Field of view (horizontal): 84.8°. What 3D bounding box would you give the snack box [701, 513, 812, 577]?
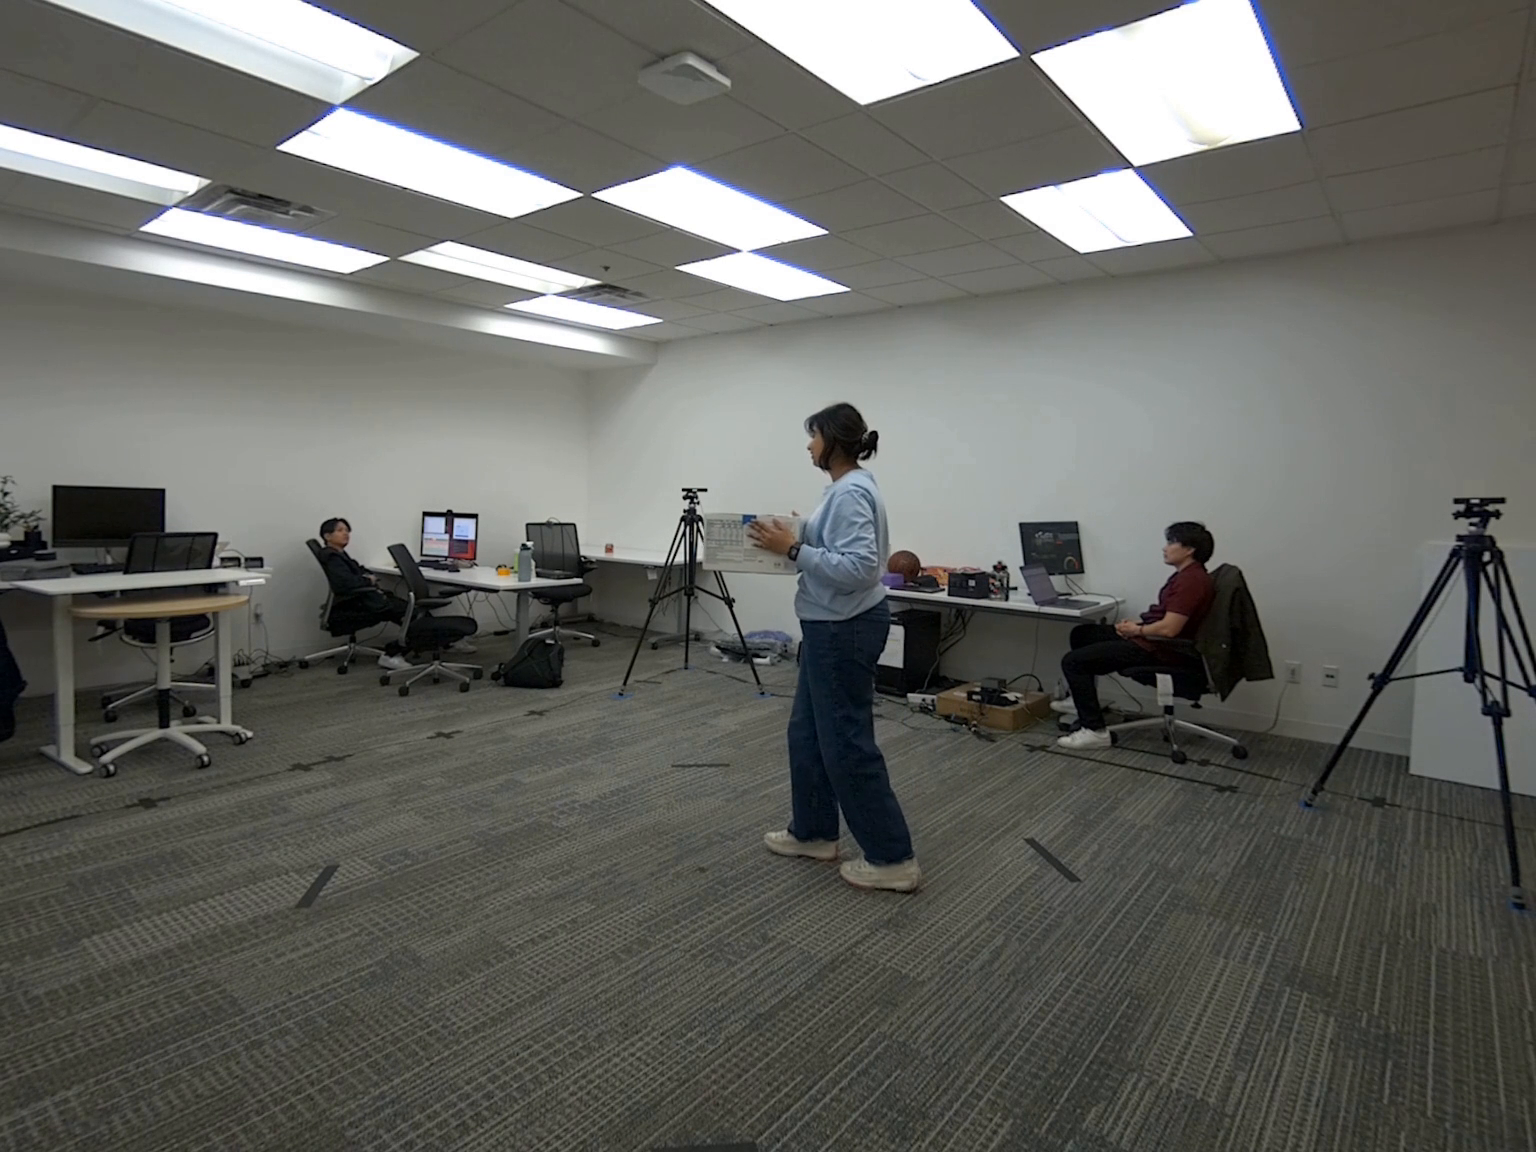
[{"bbox_3d":[-0.035,-0.126,3.154,0.345,0.205,0.401,3,4,11],"label":"snack box"}]
